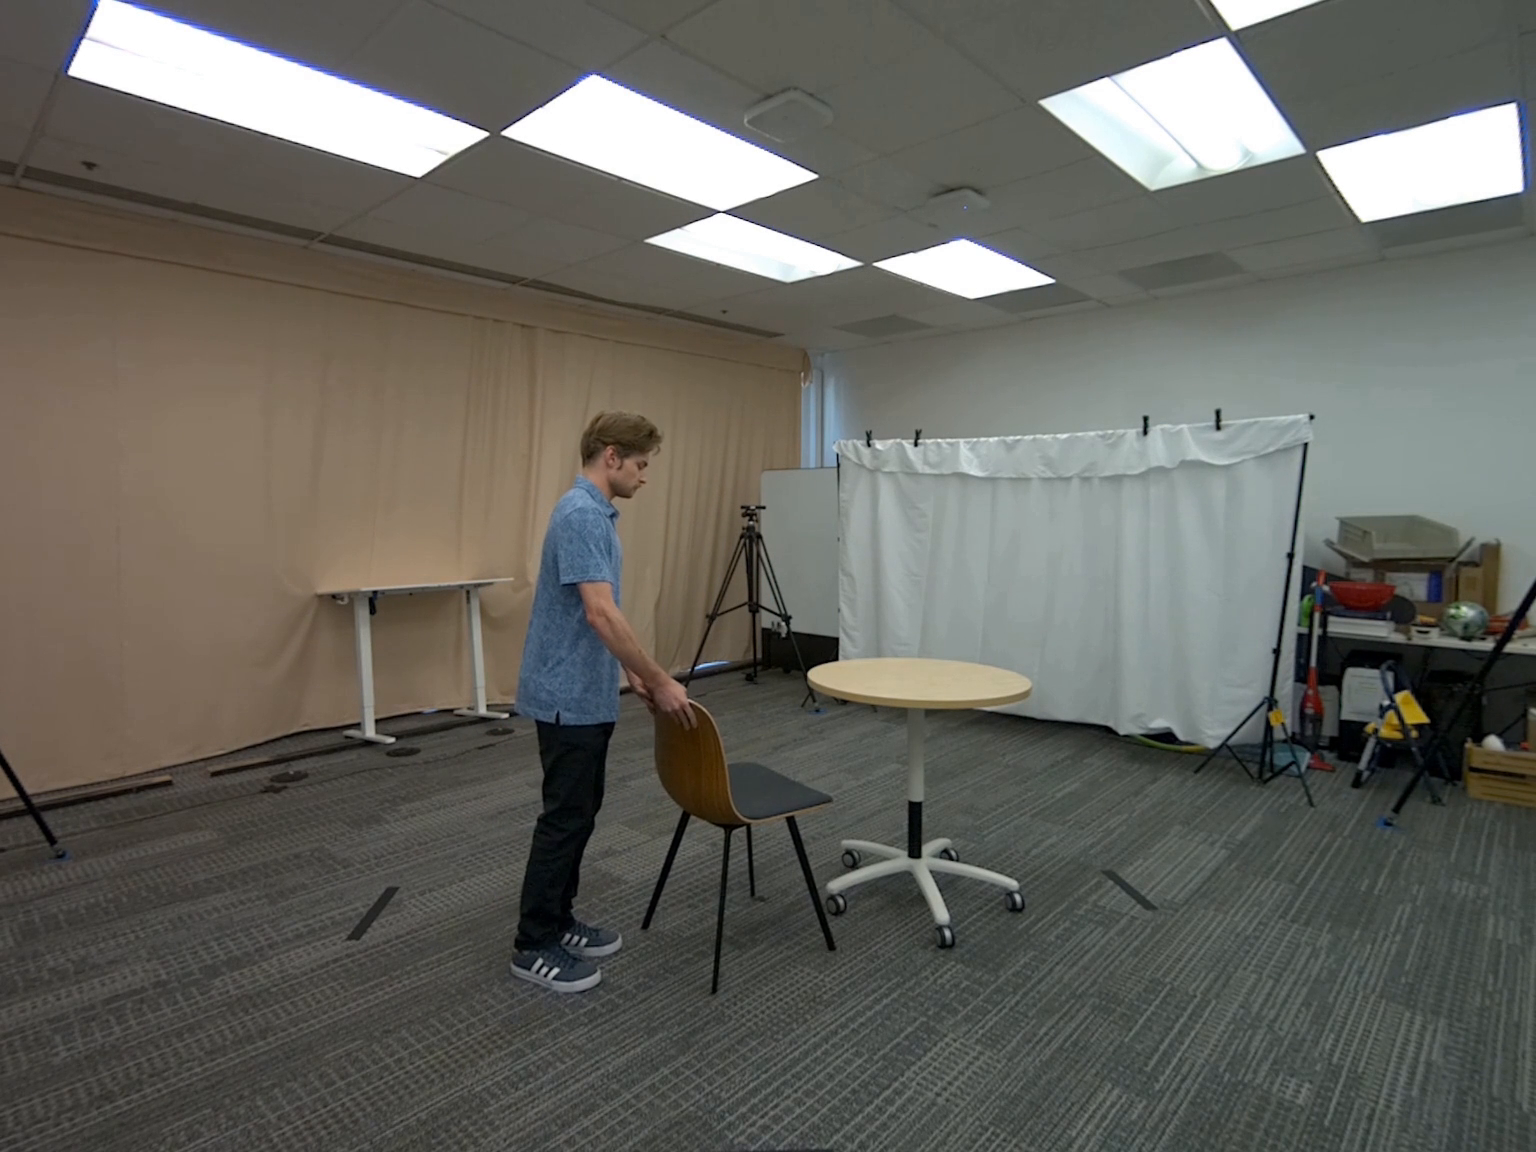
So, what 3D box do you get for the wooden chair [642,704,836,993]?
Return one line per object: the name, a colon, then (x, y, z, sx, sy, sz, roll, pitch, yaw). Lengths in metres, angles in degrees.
wooden chair: (-0.093, 0.743, 2.679, 0.509, 0.874, 0.493, -7, 7, -34)
